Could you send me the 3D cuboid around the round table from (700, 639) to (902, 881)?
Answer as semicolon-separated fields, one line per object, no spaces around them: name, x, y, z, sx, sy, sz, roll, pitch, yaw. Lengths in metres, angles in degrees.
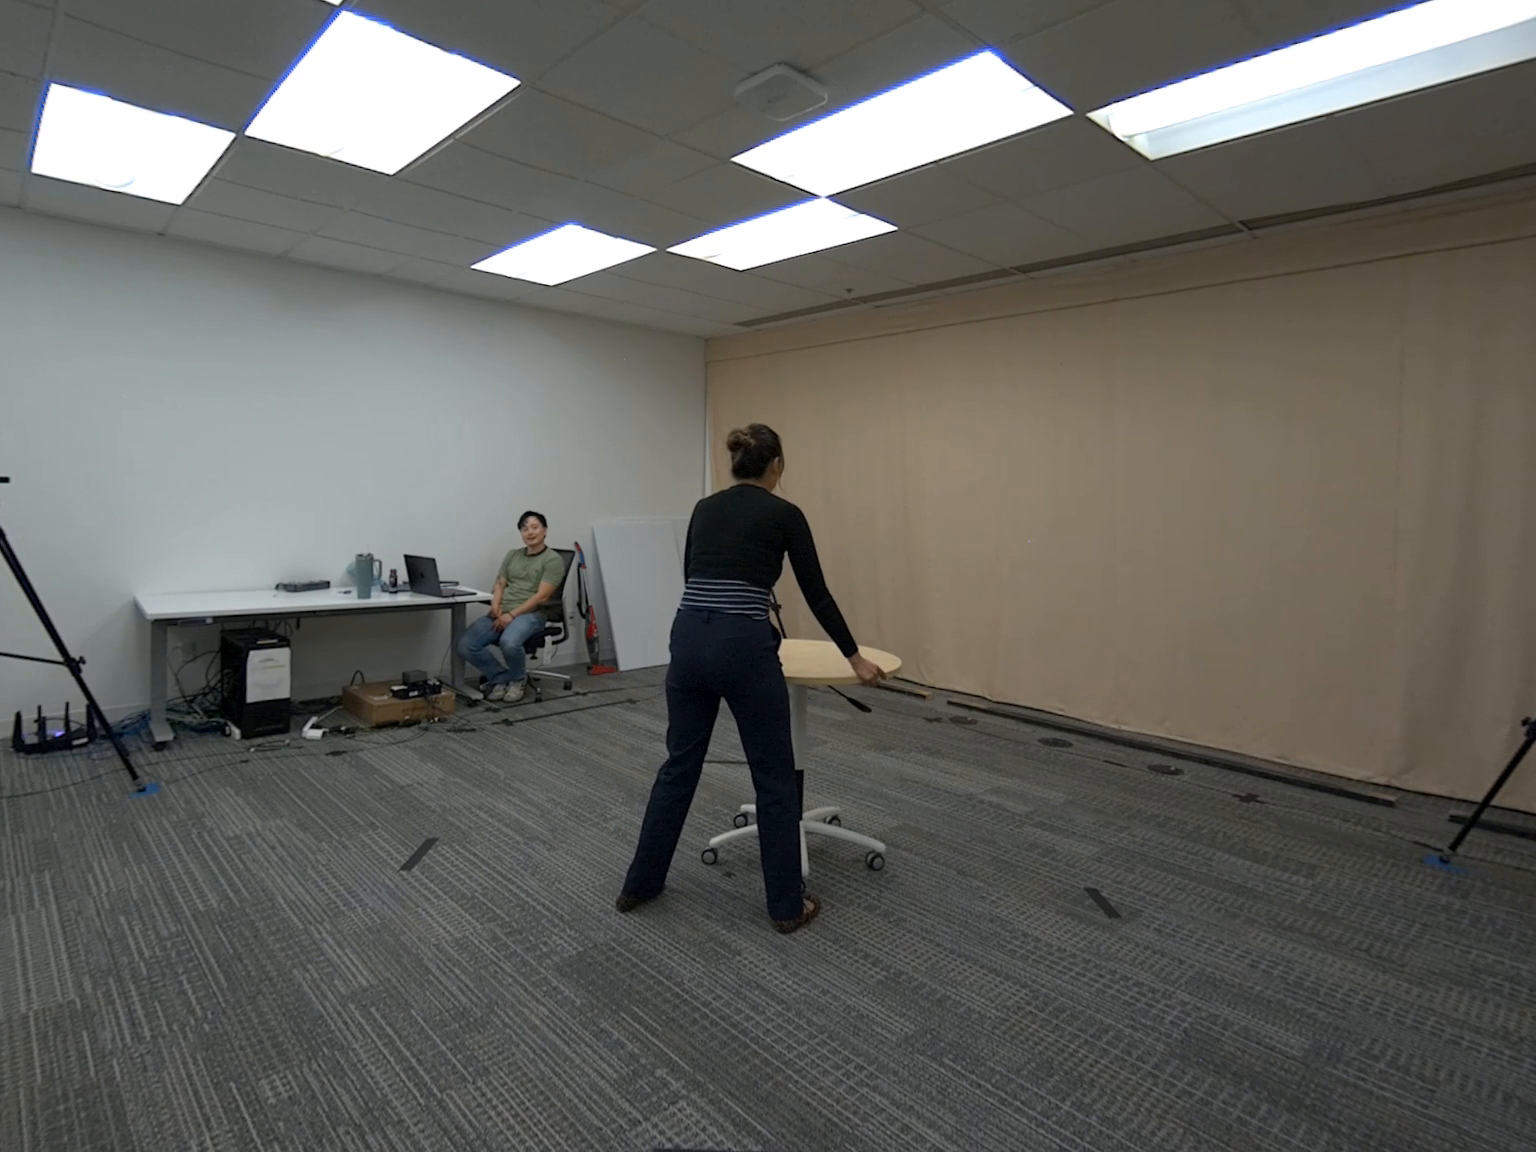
round table;0.096;0.704;3.278;0.763;0.792;0.766;2;4;-1
